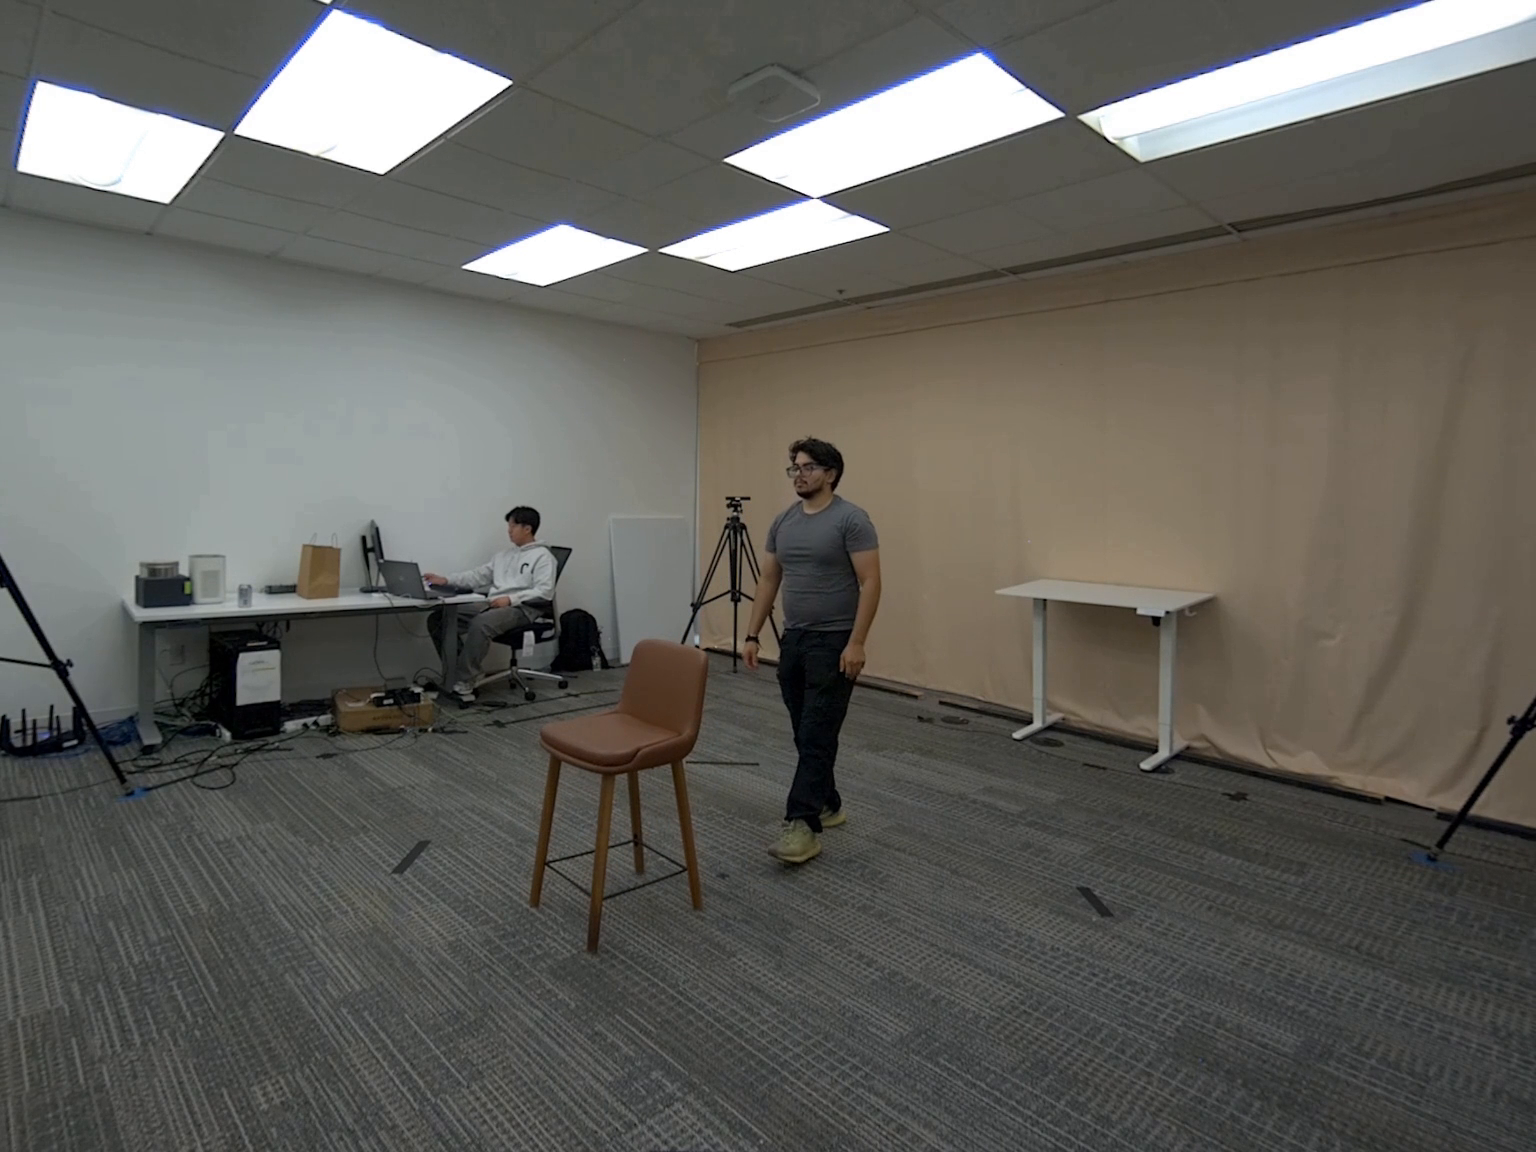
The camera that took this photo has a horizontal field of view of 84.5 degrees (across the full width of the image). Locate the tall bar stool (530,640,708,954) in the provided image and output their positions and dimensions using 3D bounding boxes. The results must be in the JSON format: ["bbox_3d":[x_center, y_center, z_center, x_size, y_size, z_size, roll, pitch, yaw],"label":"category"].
[{"bbox_3d":[-0.501,0.691,2.827,0.456,0.889,0.468,1,2,-41],"label":"tall bar stool"}]
